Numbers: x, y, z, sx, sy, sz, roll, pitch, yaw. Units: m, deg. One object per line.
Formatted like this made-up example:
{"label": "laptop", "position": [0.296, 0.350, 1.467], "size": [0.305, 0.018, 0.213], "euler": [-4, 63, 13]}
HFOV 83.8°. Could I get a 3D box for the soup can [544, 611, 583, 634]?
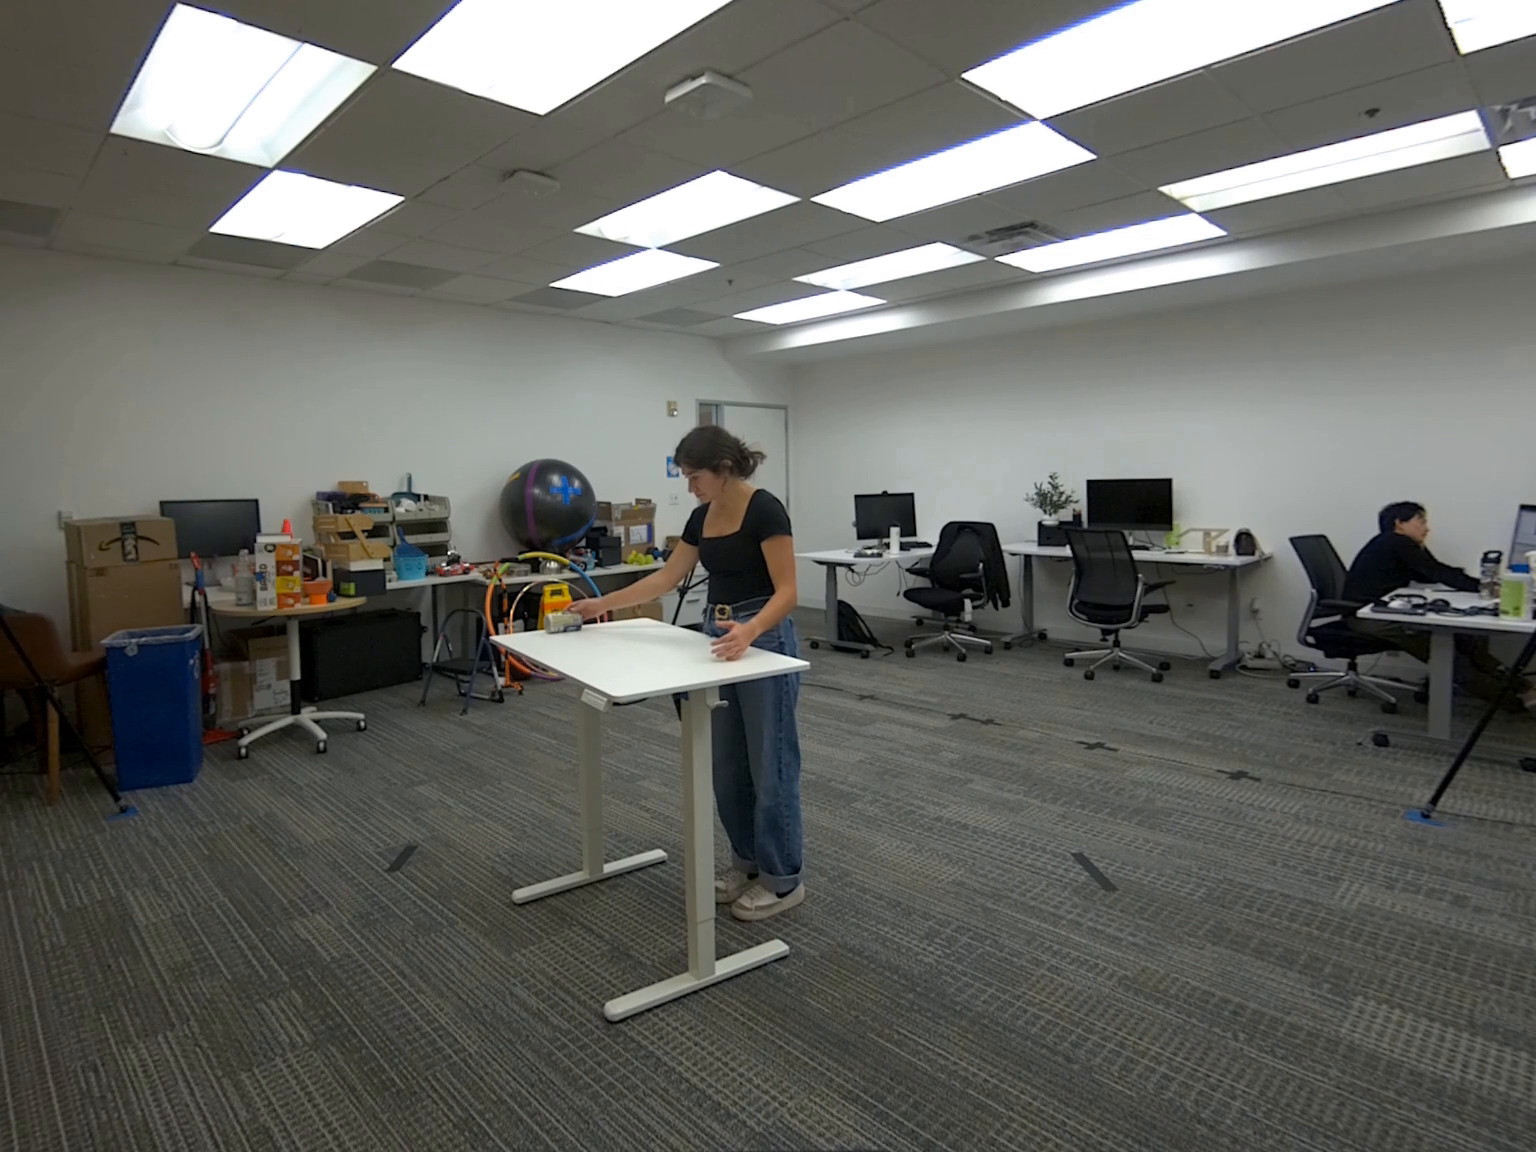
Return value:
{"label": "soup can", "position": [-0.709, 0.159, 2.961], "size": [0.119, 0.067, 0.068], "euler": [2, 4, -17]}
